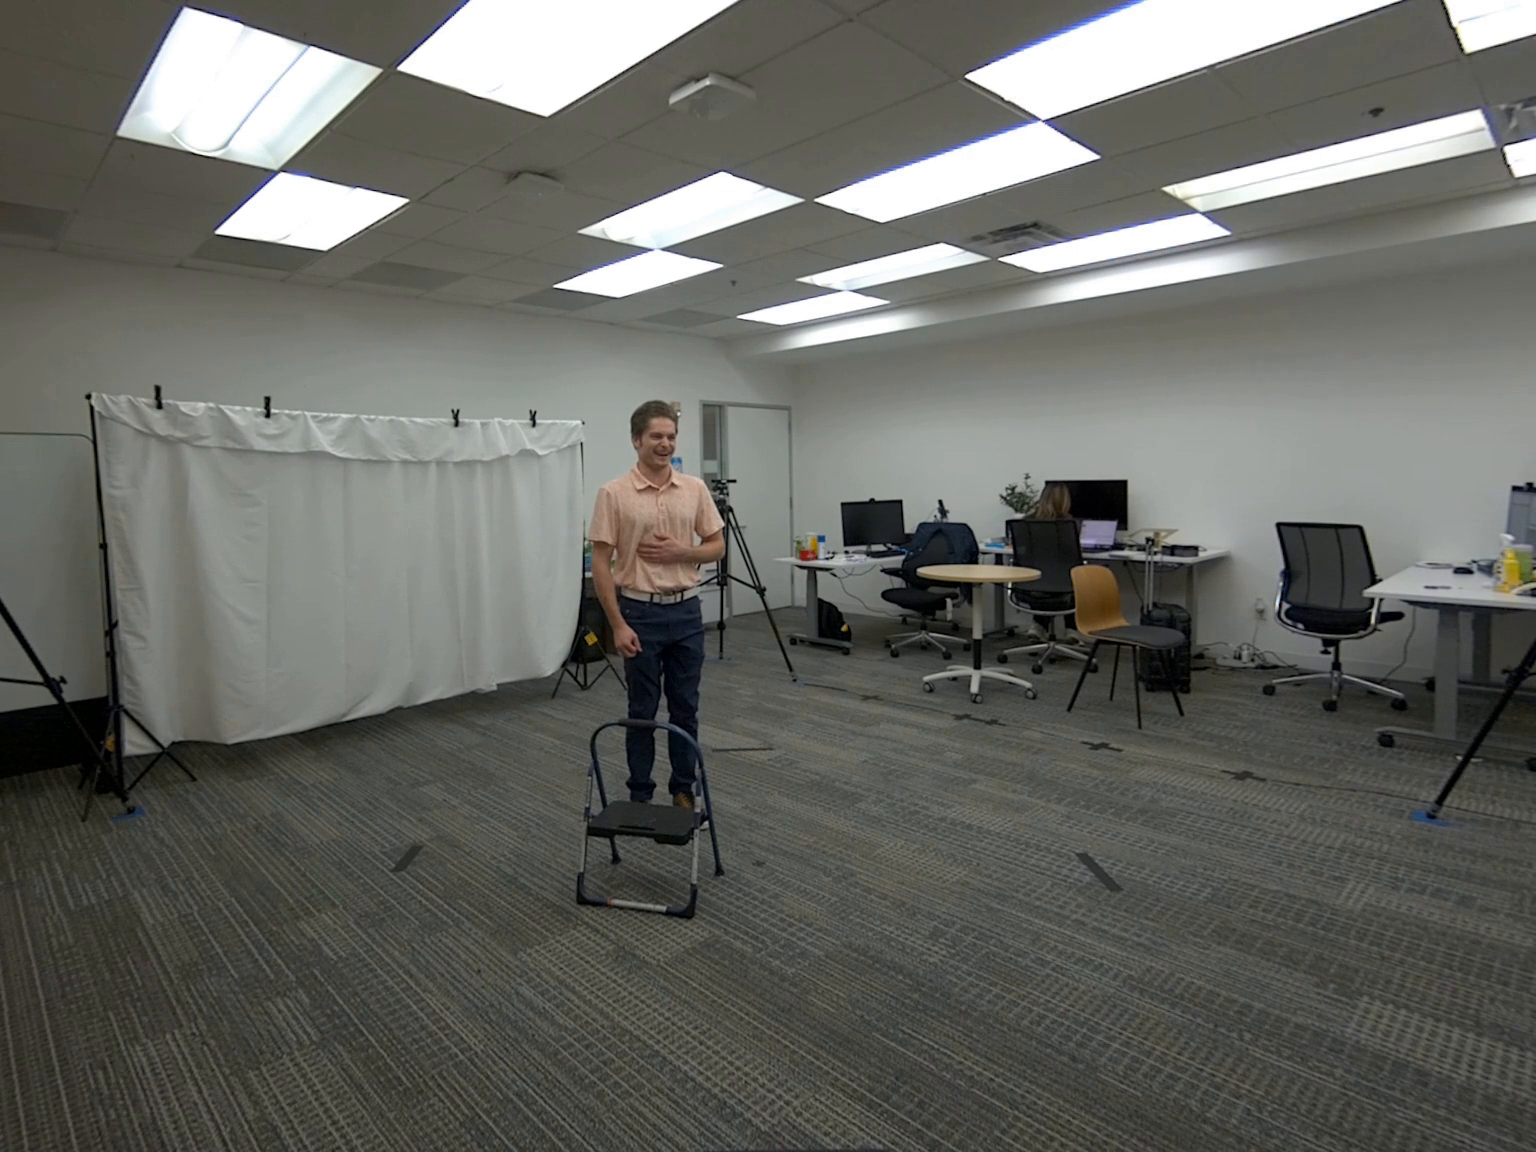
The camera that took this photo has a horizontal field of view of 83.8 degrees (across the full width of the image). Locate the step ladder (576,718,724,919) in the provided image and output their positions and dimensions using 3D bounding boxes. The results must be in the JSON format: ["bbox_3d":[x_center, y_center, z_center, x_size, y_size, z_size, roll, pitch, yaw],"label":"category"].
[{"bbox_3d":[-0.405,0.777,2.922,0.437,0.604,0.345,0,4,15],"label":"step ladder"}]
